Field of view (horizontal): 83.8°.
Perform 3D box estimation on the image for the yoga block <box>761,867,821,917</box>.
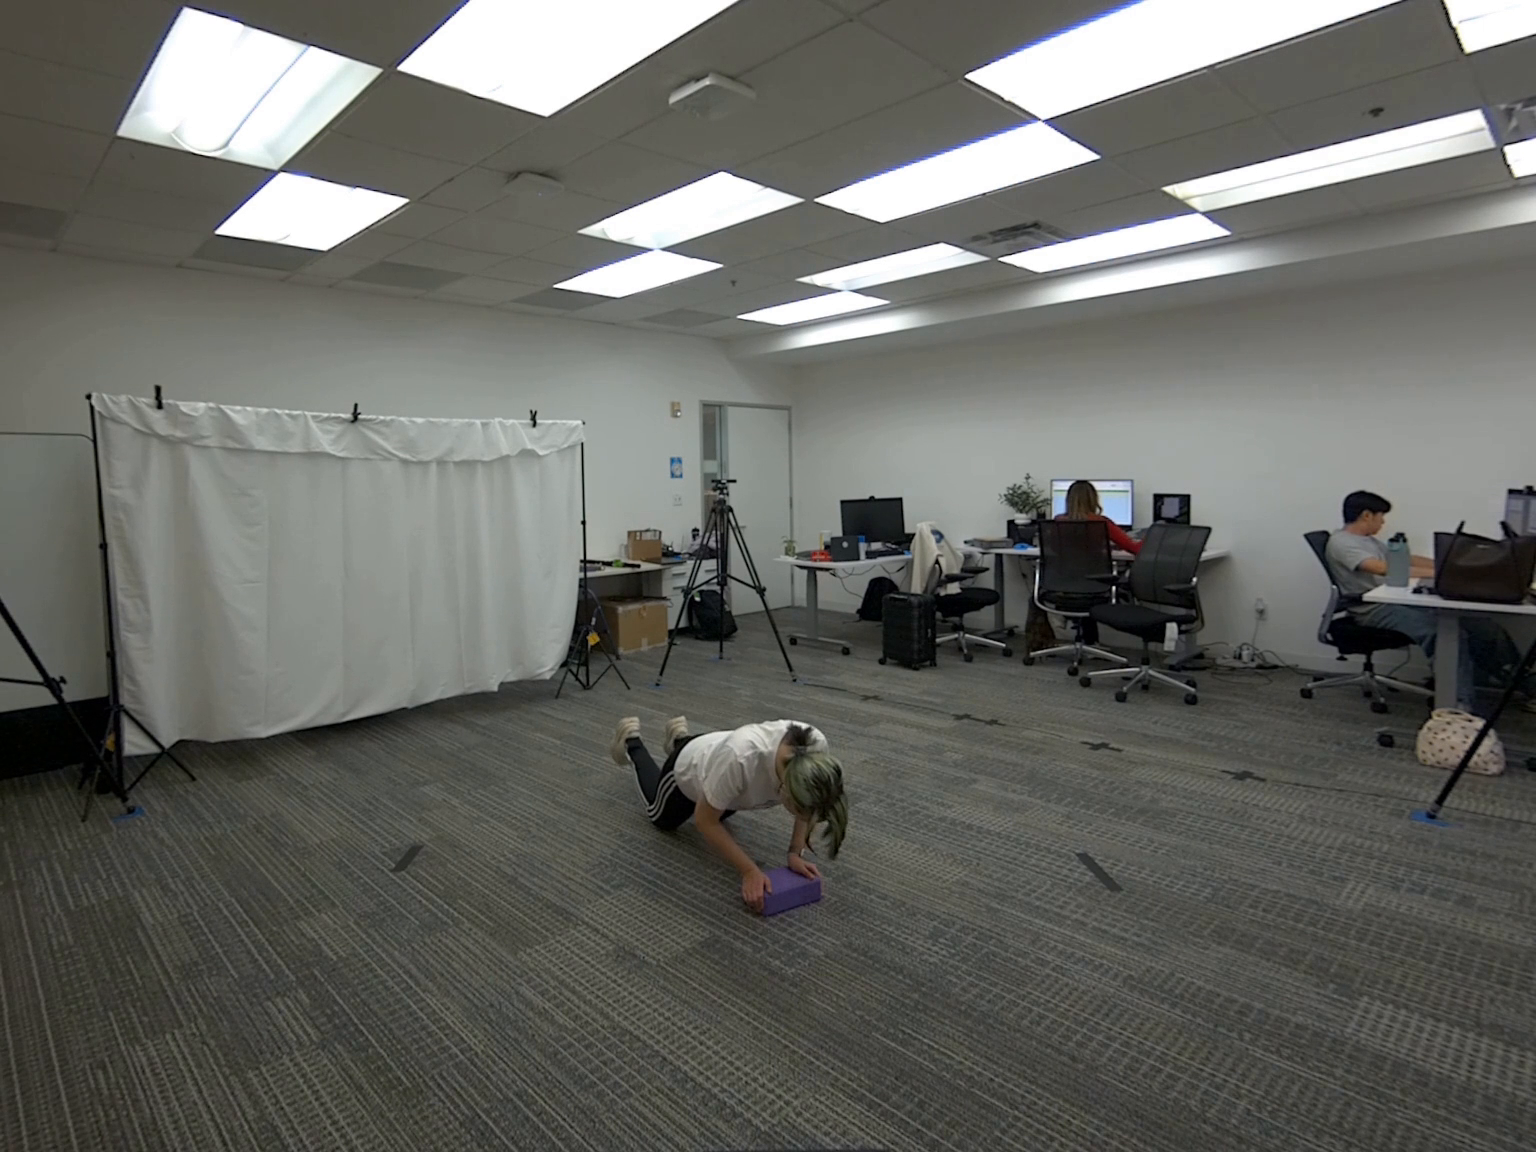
[{"bbox_3d":[0.046,1.040,2.838,0.224,0.076,0.153,-4,9,-31],"label":"yoga block"}]
